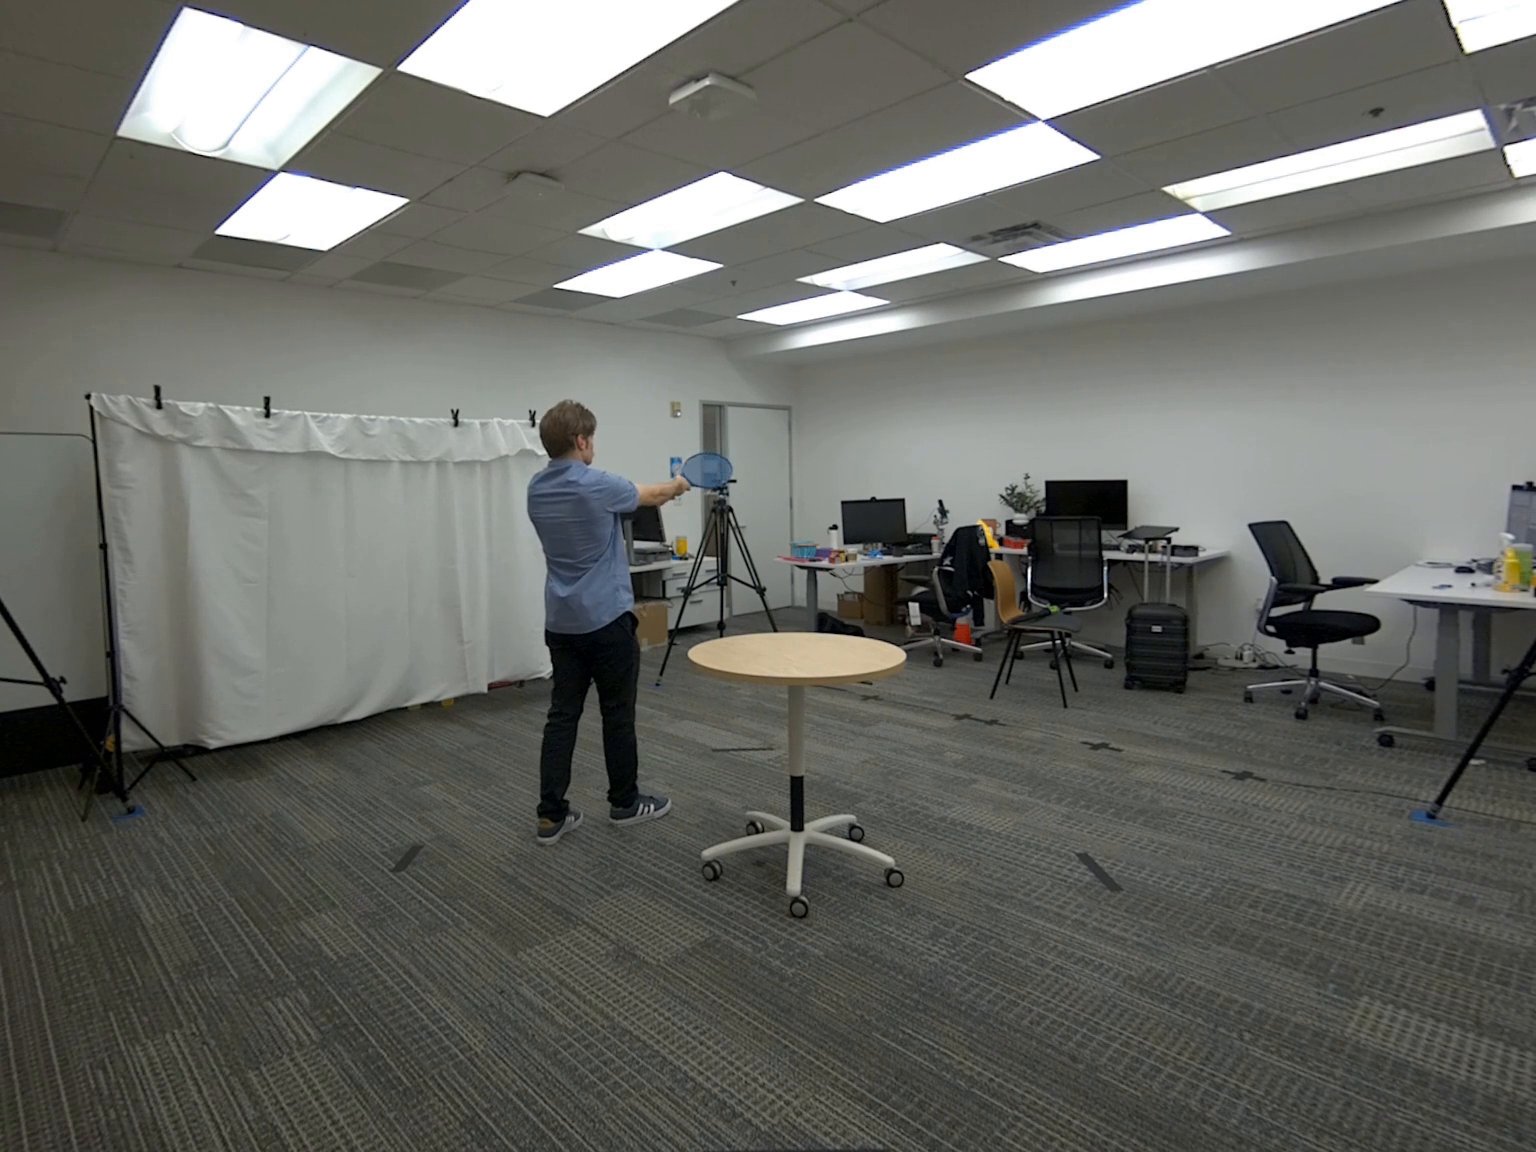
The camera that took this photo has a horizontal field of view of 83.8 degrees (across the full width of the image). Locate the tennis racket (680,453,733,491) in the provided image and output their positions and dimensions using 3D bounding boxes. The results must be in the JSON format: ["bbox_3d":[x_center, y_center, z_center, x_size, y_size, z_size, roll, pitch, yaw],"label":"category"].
[{"bbox_3d":[-0.322,-0.453,3.948,0.218,0.031,0.431,36,47,13],"label":"tennis racket"}]
